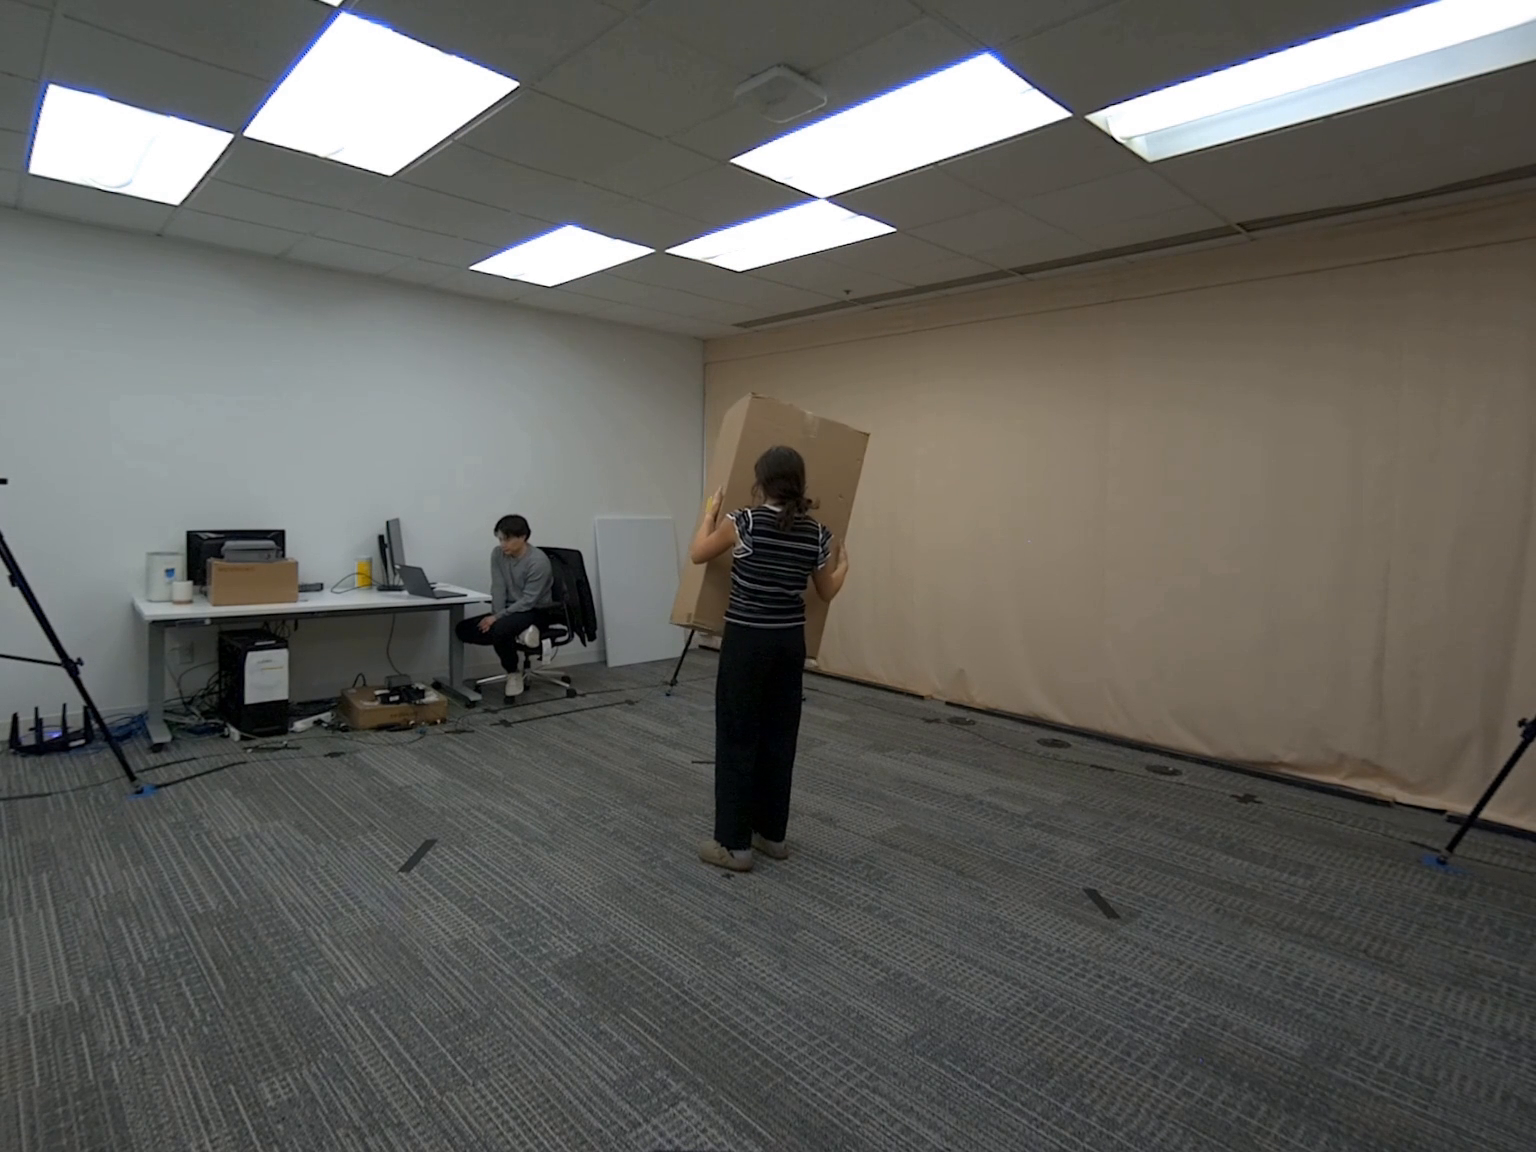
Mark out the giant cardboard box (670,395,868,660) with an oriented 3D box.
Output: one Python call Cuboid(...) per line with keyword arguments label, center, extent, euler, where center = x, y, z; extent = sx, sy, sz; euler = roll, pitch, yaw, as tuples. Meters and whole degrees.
Cuboid(label="giant cardboard box", center=(-0.006, -0.200, 3.763), extent=(0.569, 1.030, 0.431), euler=(17, -9, -16))
